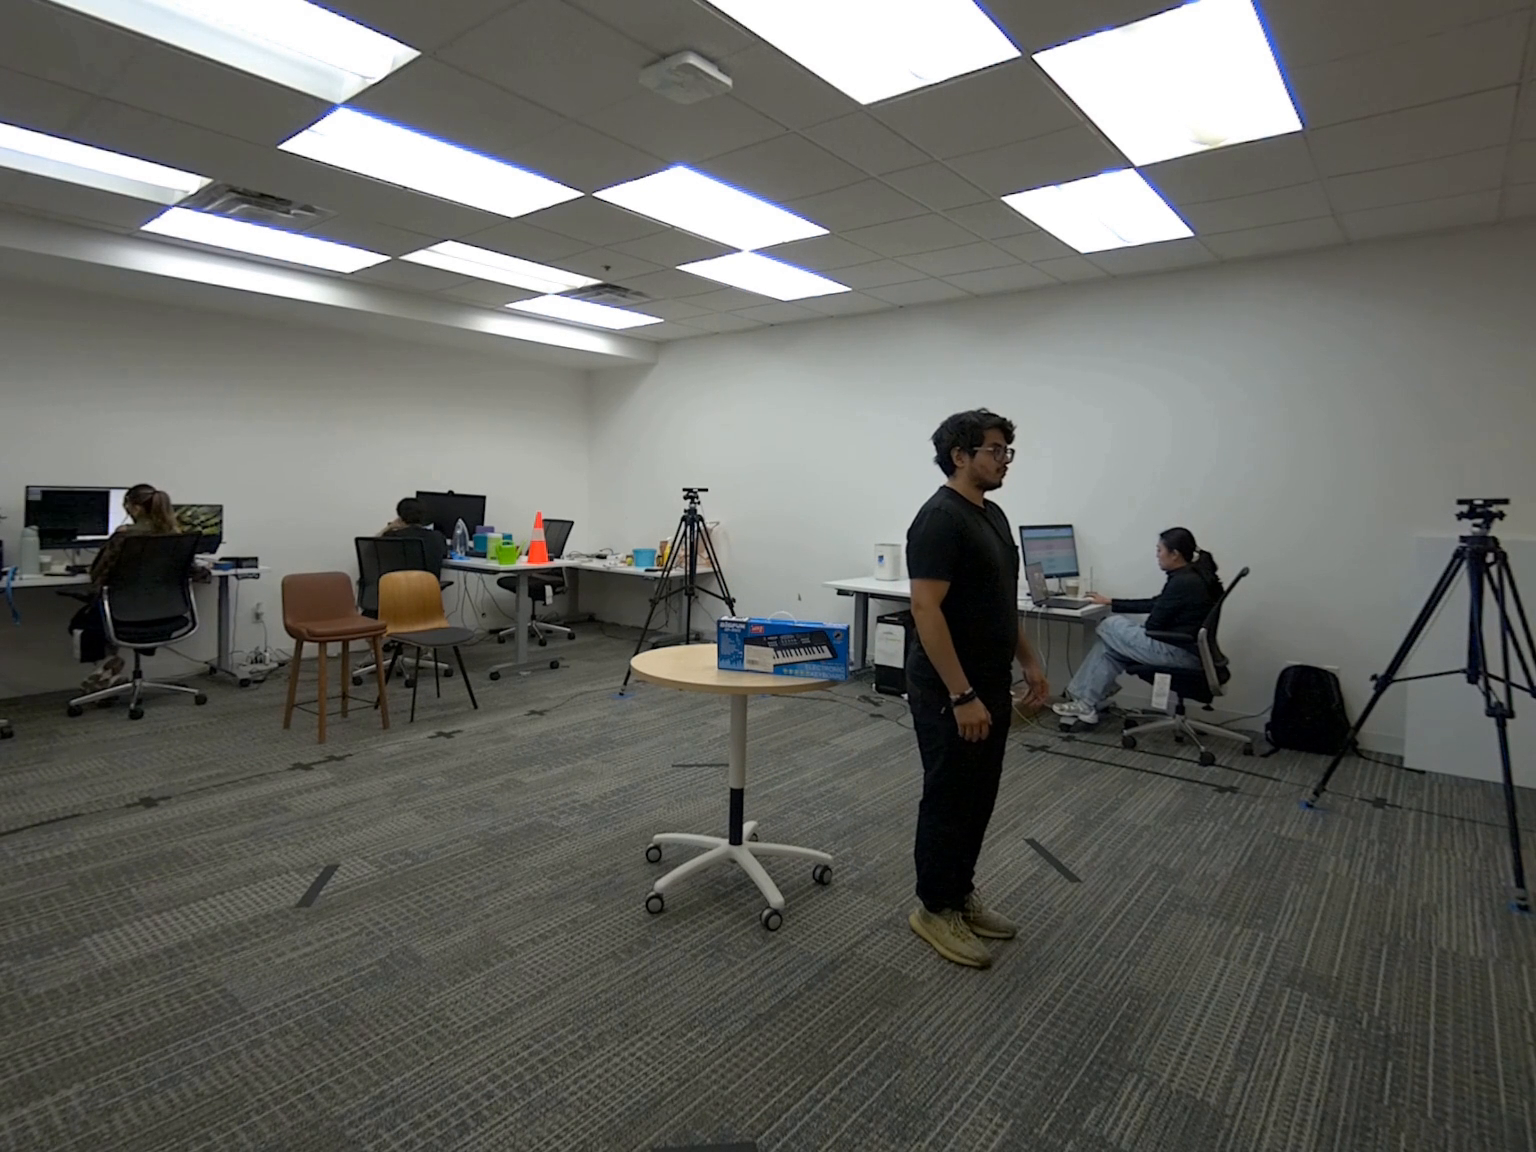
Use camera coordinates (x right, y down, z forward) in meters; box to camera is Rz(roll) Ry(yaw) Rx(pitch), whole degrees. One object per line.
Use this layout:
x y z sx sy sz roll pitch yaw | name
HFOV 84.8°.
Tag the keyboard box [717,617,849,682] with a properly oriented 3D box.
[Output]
0.039 0.235 2.790 0.446 0.174 0.058 3 9 20 | keyboard box
